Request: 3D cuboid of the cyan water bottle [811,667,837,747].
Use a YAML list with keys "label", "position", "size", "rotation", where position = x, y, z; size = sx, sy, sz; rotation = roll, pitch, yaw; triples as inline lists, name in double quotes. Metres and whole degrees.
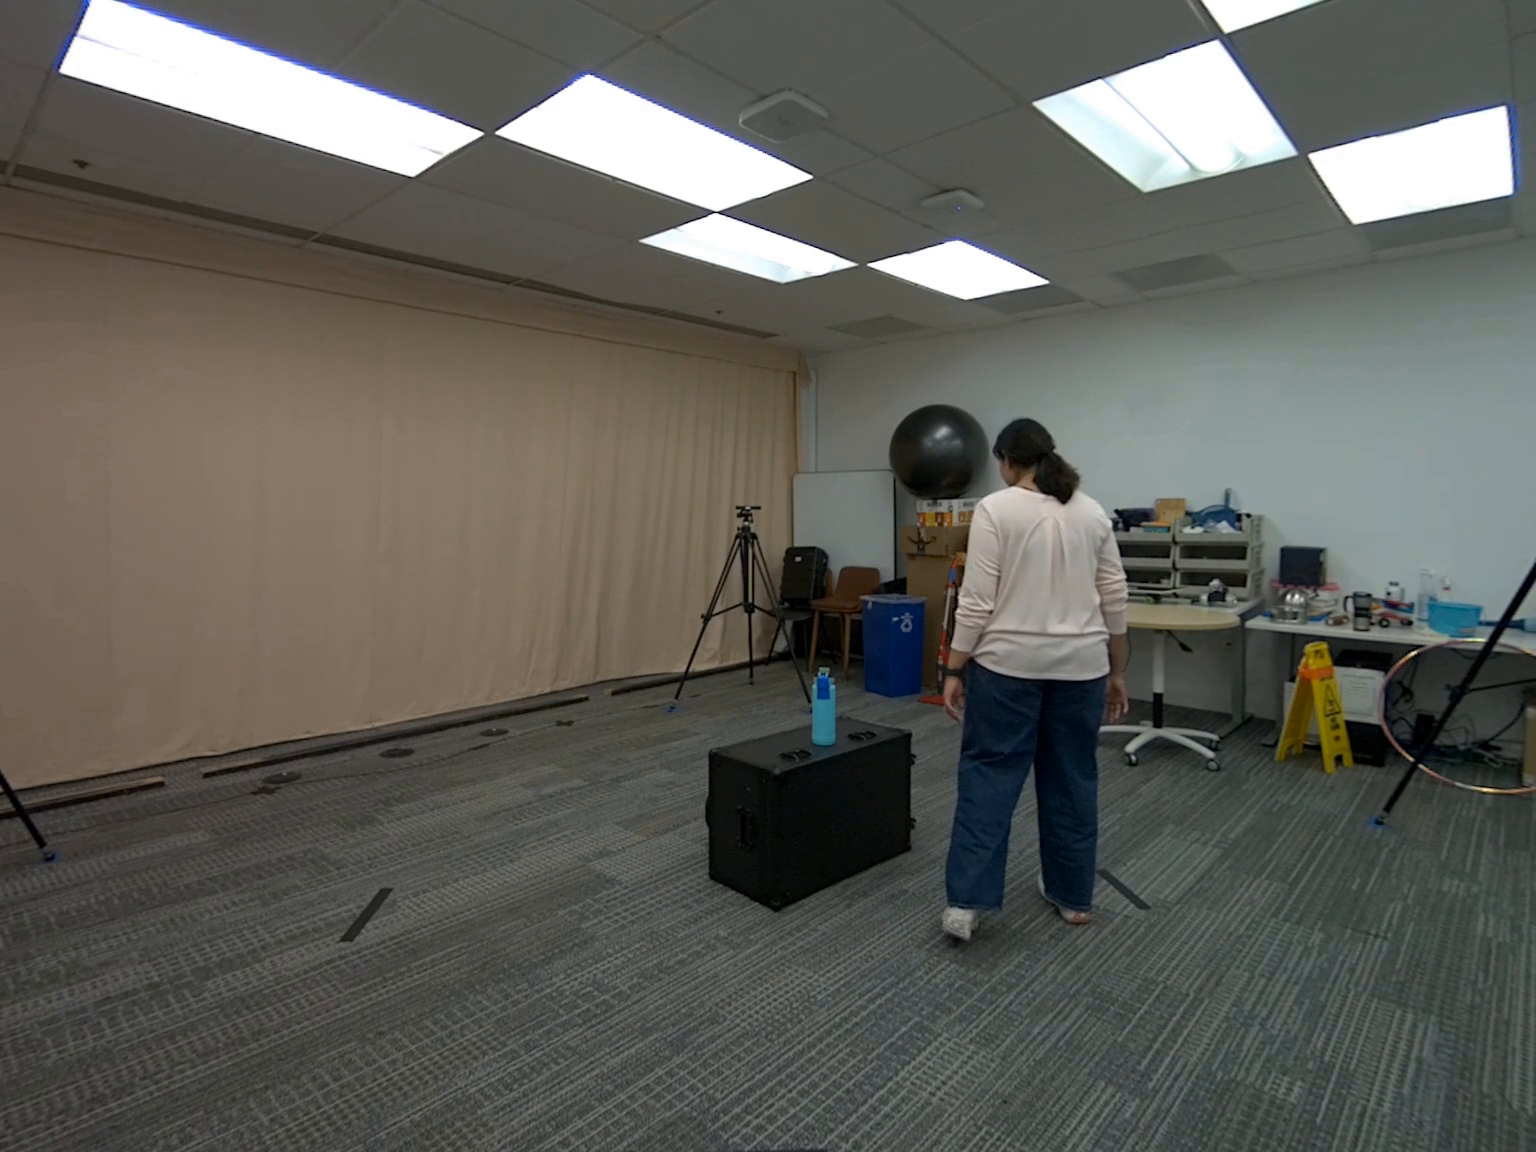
- label: "cyan water bottle"
  position: [0.224, 0.502, 3.239]
  size: [0.092, 0.283, 0.093]
  rotation: [1, 4, -2]
